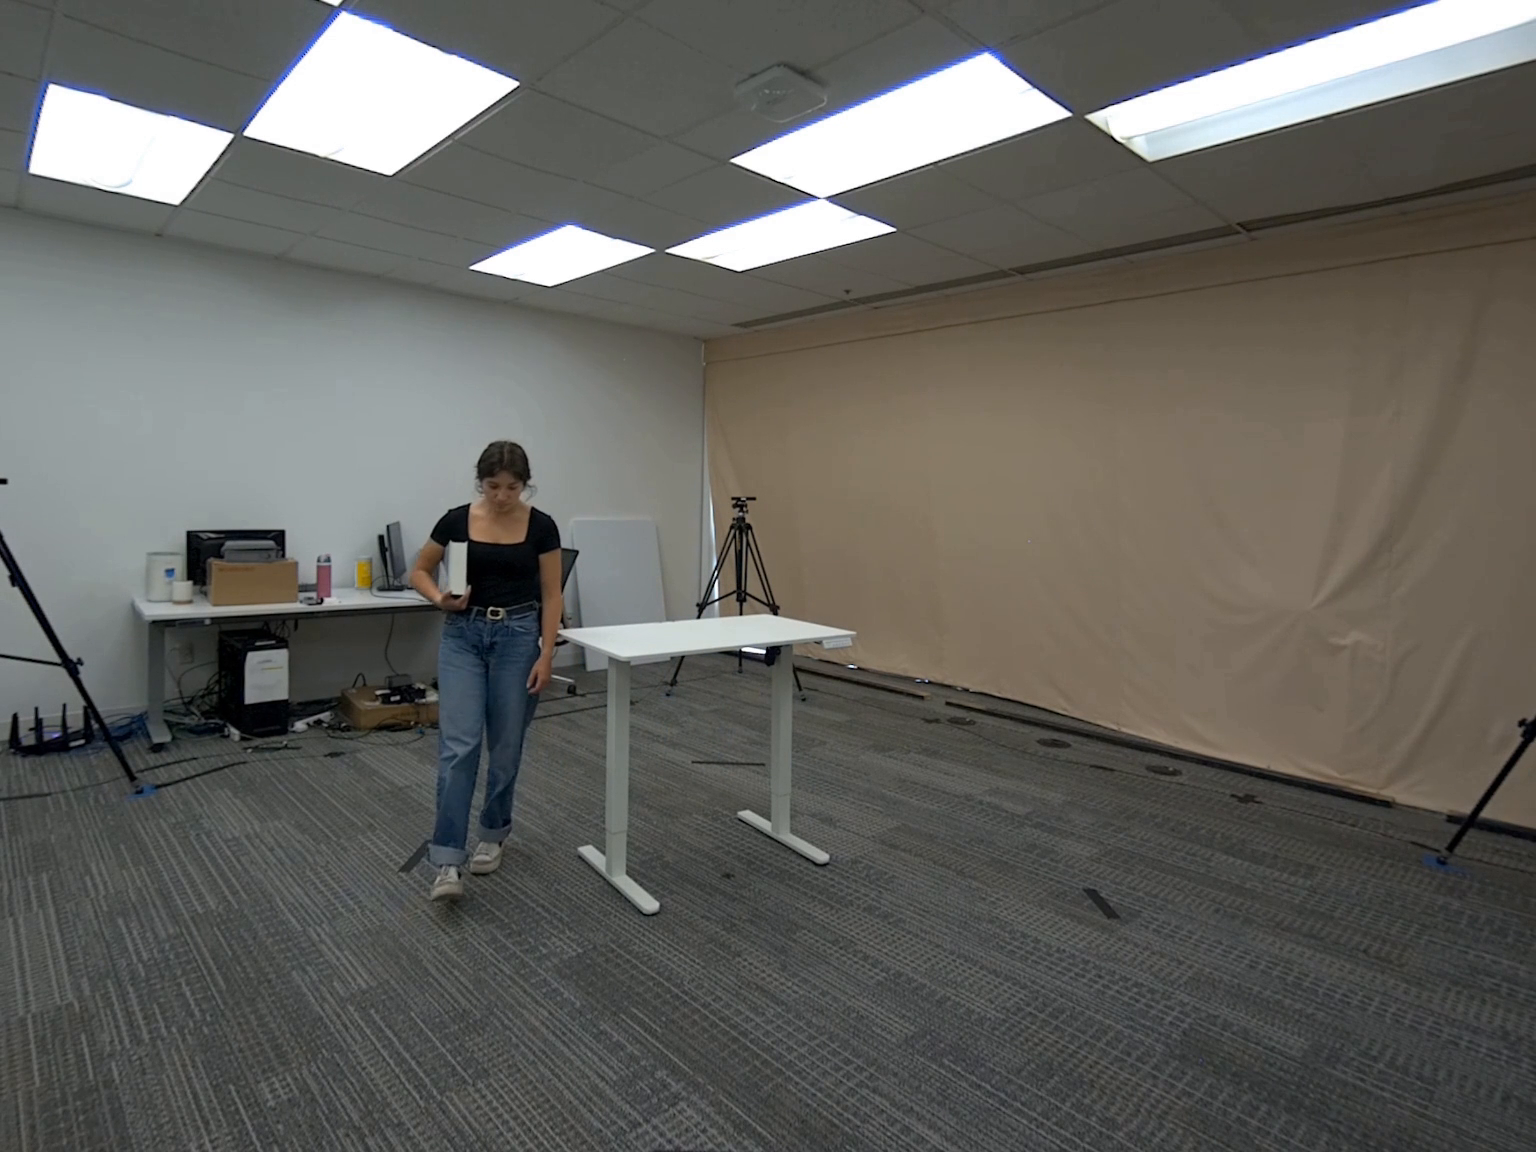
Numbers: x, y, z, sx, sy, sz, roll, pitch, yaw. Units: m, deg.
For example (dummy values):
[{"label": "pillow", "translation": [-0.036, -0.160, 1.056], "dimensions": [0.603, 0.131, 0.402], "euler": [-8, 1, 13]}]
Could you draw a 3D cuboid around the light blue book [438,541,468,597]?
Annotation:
[{"label": "light blue book", "translation": [-1.130, -0.013, 3.003], "dimensions": [0.058, 0.193, 0.263], "euler": [4, -12, -25]}]
